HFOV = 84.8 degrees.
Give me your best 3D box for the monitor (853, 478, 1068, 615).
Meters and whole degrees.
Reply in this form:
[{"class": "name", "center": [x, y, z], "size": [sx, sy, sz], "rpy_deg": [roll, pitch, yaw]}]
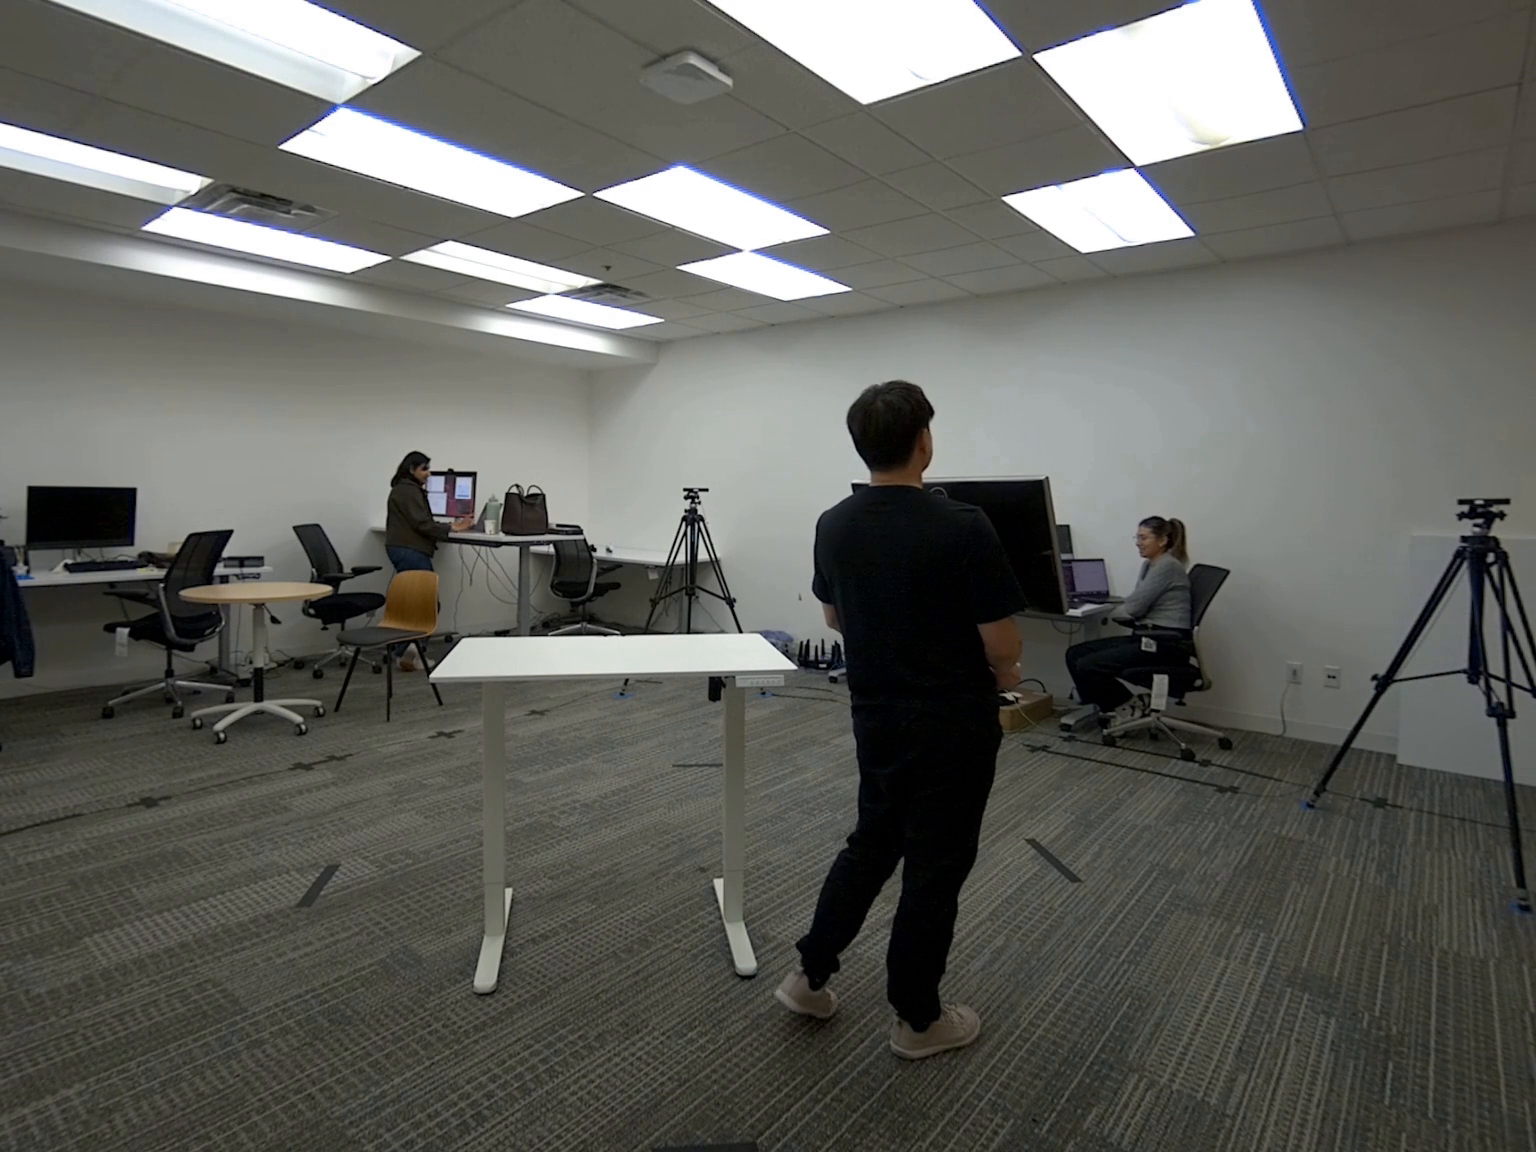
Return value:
[{"class": "monitor", "center": [0.466, 0.006, 2.248], "size": [0.557, 0.517, 0.183], "rpy_deg": [3, 12, 41]}]
